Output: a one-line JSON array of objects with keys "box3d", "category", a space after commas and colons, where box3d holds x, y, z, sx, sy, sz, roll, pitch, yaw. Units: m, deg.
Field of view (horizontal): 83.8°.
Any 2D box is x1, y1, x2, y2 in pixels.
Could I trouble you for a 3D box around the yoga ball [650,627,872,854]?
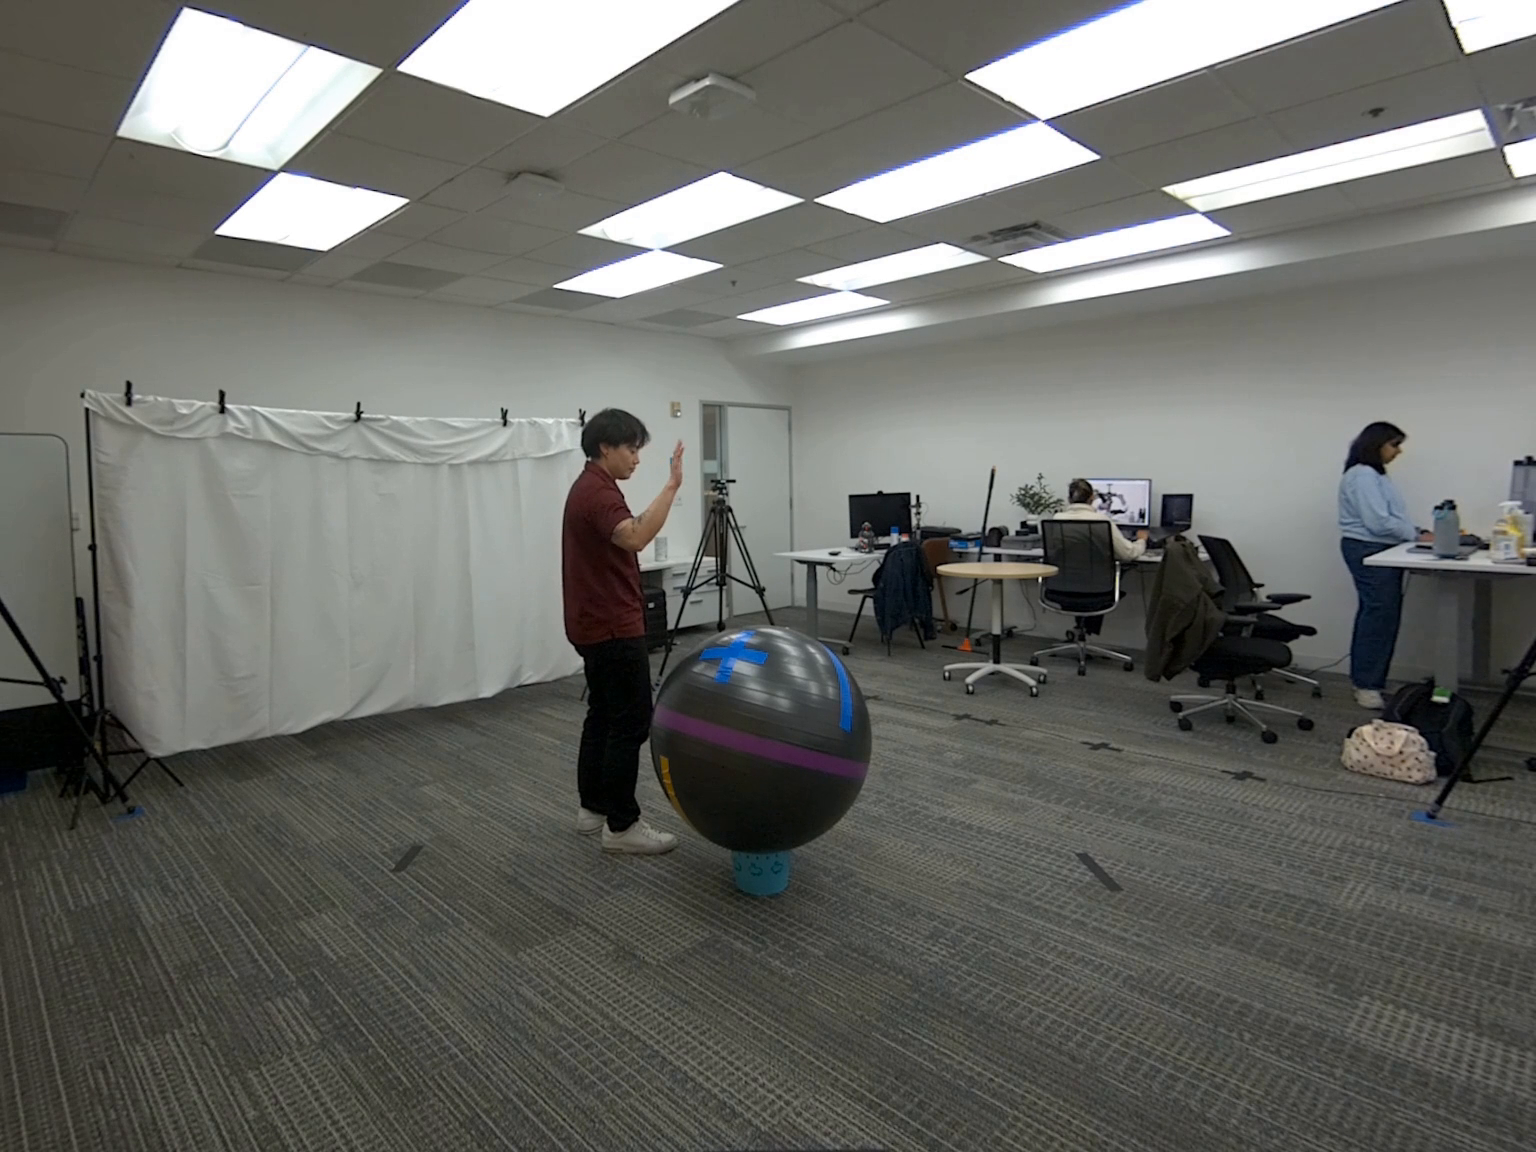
[{"box3d": [-0.011, 0.559, 2.938, 0.757, 0.755, 0.762, -1, 5, -2], "category": "yoga ball"}]
